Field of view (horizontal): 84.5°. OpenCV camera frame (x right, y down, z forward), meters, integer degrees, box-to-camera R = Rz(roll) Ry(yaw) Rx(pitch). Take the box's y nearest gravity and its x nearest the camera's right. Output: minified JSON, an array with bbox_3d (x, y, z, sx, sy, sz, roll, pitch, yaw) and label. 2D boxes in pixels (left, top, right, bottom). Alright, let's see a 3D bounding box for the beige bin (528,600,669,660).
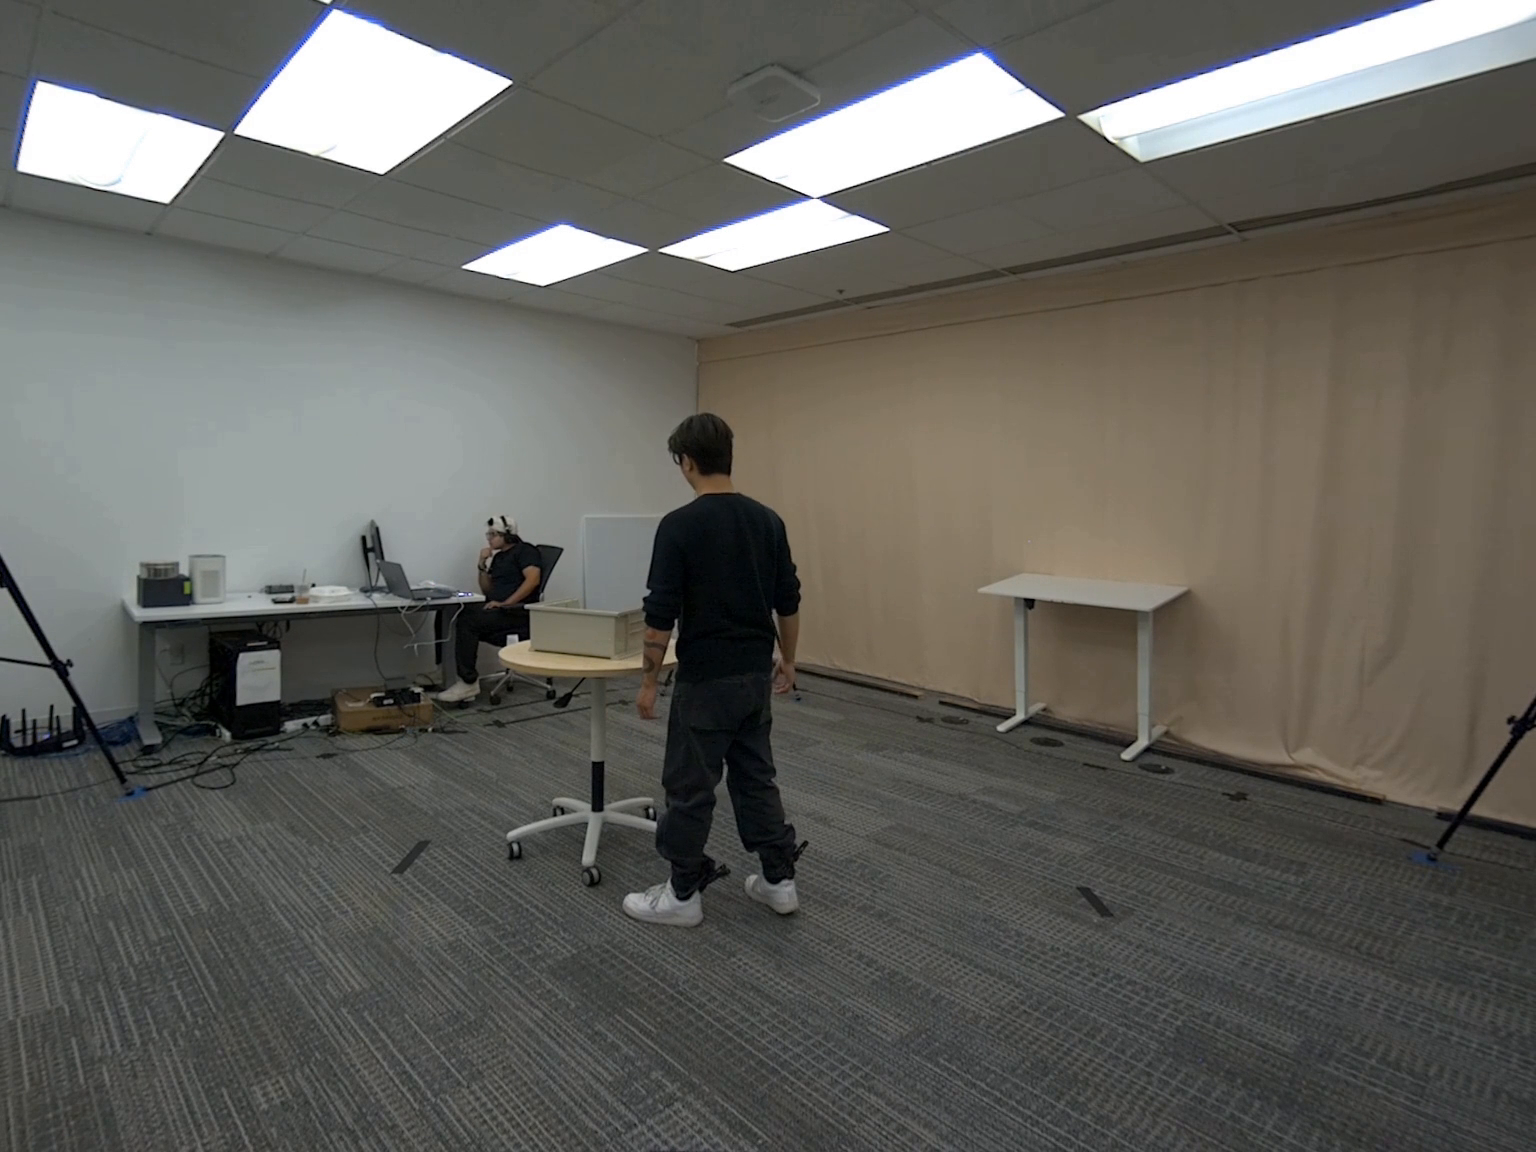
[{"bbox_3d":[-0.688,0.204,3.343,0.430,0.188,0.372,4,6,22],"label":"beige bin"}]
